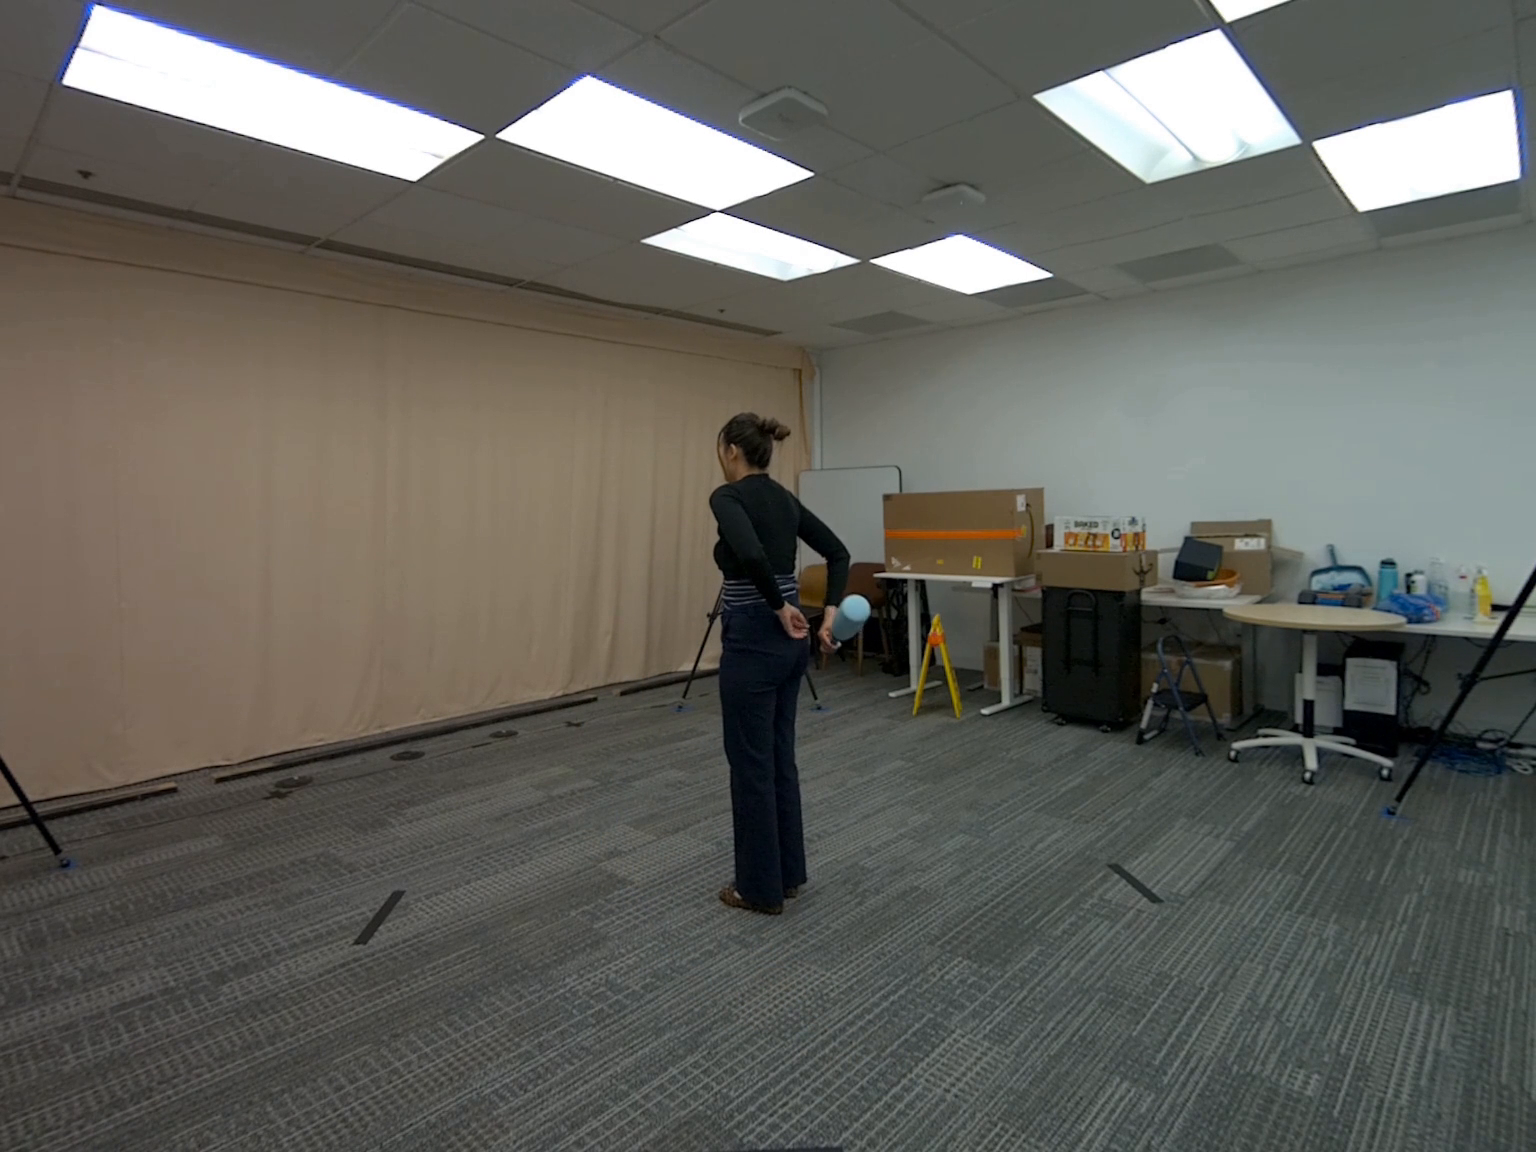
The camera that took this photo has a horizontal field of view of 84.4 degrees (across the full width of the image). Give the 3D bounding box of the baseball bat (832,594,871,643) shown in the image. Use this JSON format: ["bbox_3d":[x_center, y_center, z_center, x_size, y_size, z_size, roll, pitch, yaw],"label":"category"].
[{"bbox_3d":[0.241,0.171,2.690,0.089,0.090,0.536,0,-18,-1],"label":"baseball bat"}]
